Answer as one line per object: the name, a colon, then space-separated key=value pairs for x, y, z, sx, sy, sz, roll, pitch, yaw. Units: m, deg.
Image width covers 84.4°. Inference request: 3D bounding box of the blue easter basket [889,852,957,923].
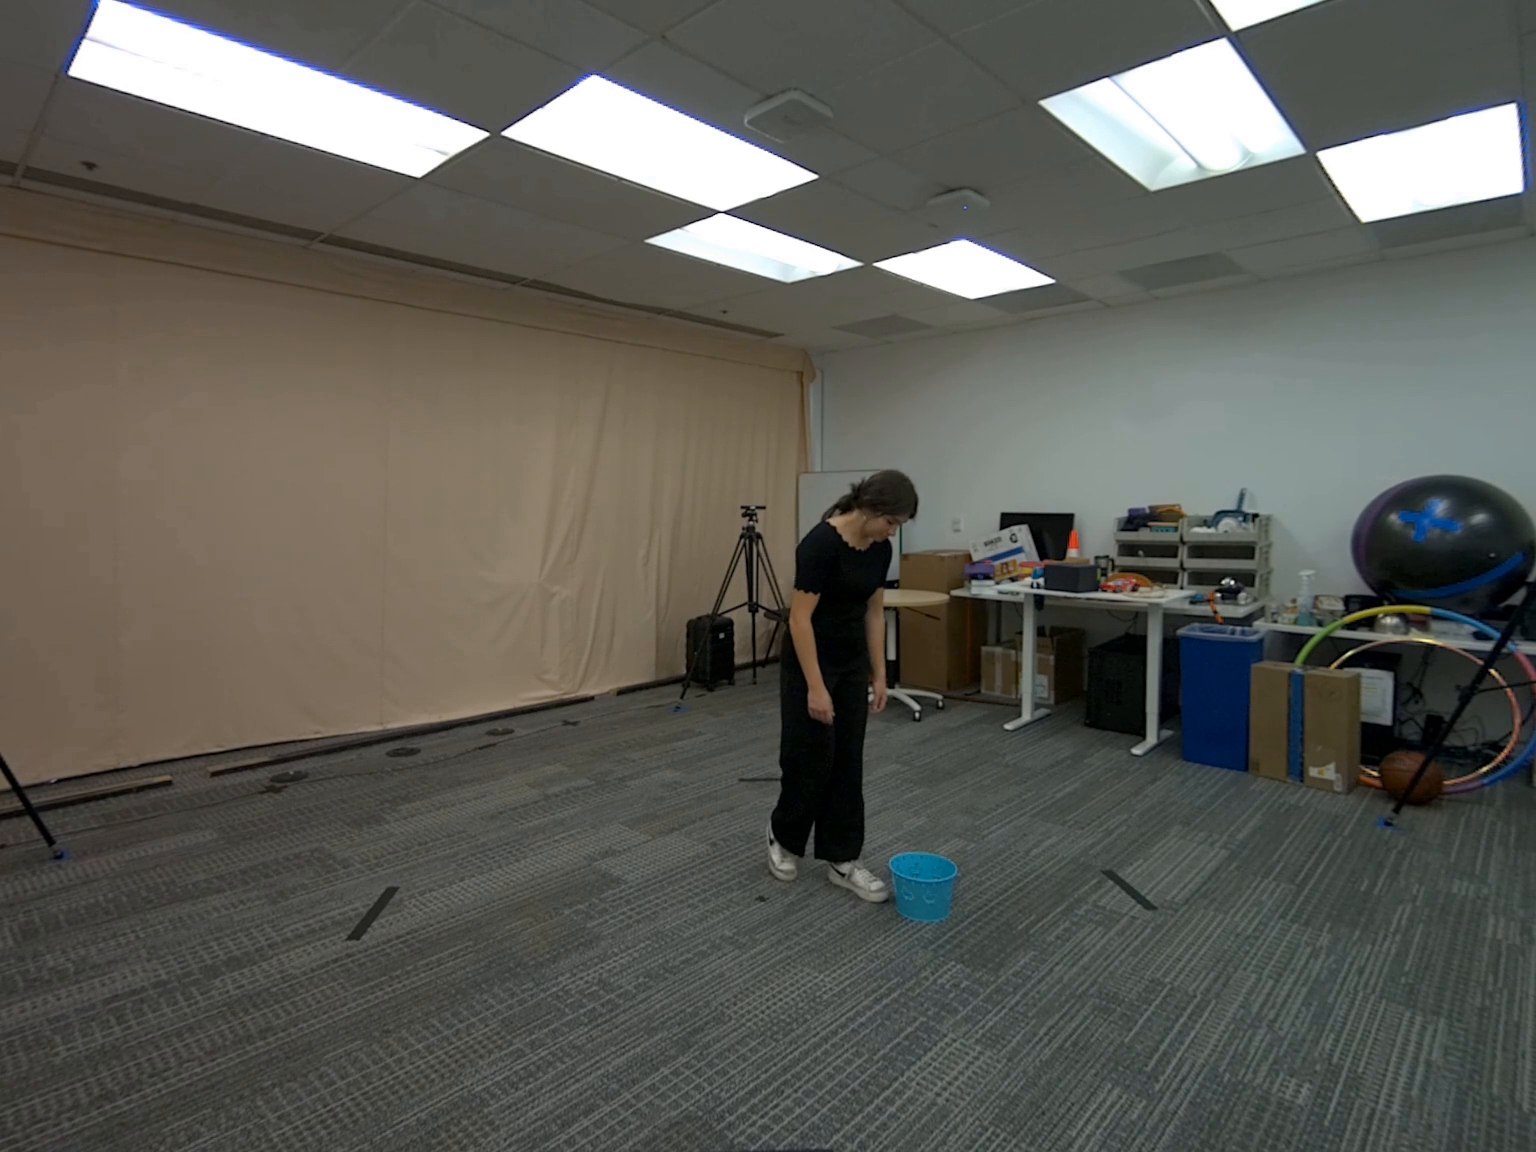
blue easter basket: x=0.542 y=1.070 z=2.894 sx=0.243 sy=0.155 sz=0.244 roll=0 pitch=4 yaw=-2
